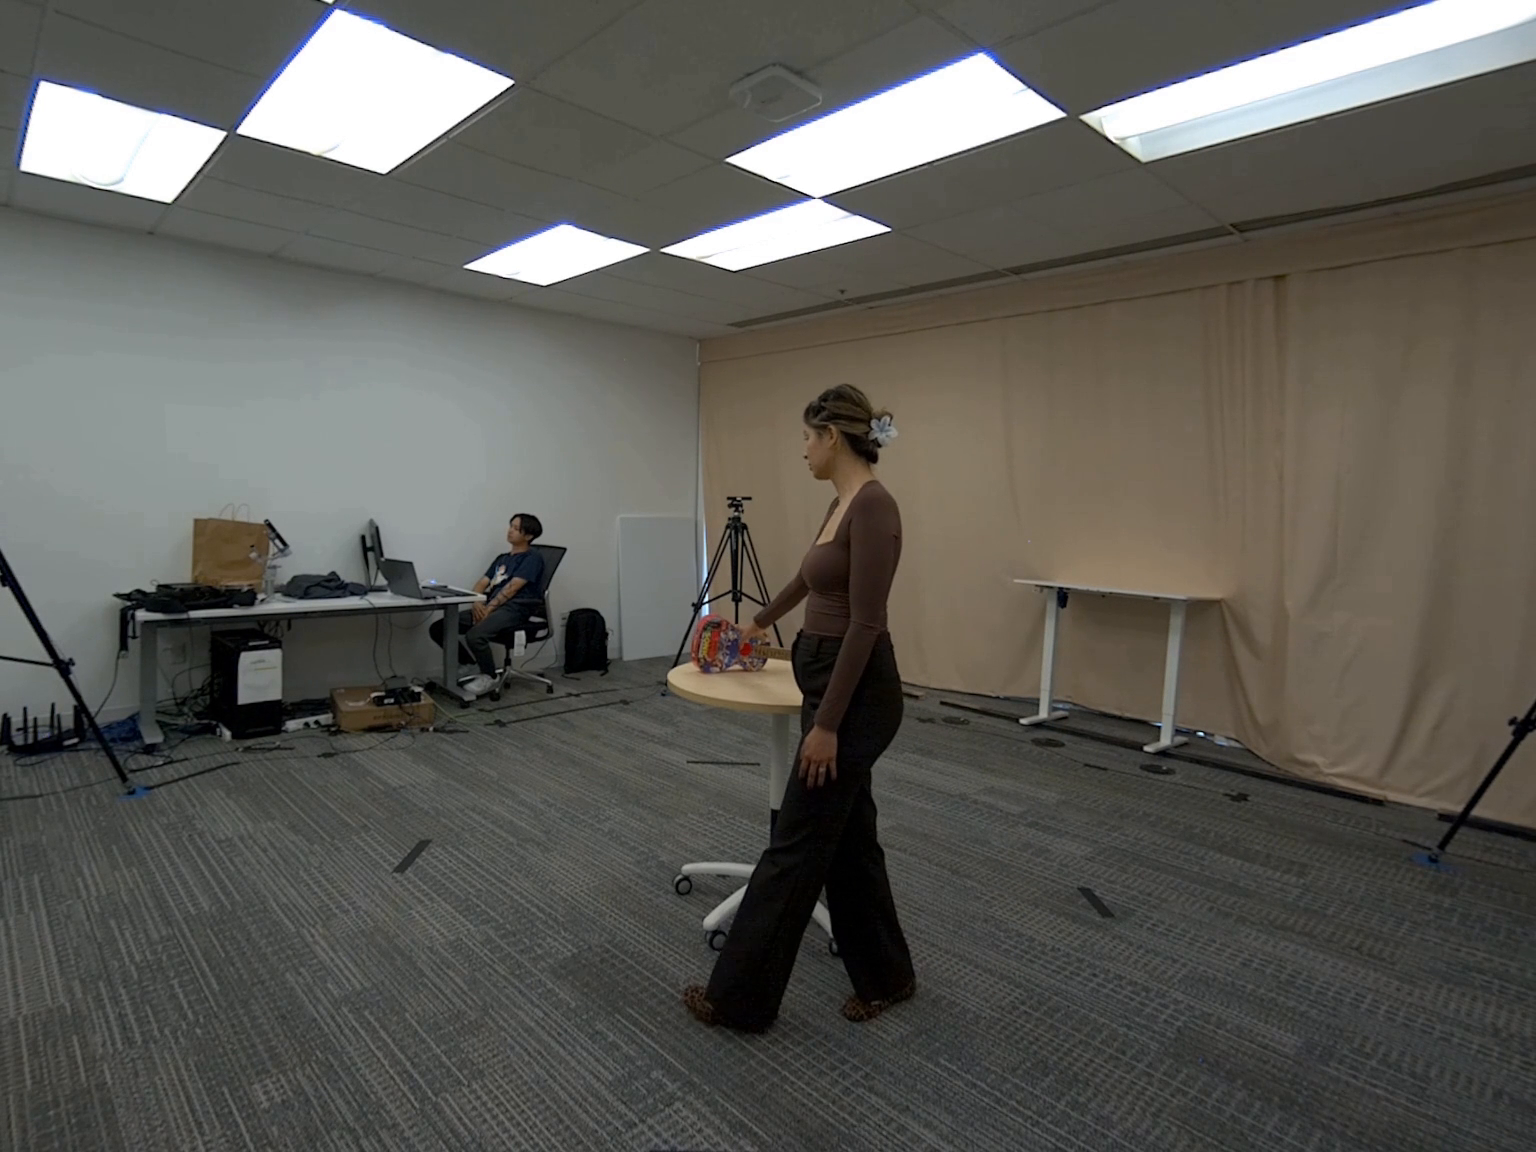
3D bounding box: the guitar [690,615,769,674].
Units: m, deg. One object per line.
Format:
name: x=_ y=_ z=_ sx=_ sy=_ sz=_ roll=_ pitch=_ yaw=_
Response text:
guitar: x=-0.034 y=0.286 z=2.917 sx=0.489 sy=0.193 sz=0.072 roll=18 pitch=0 yaw=-19
